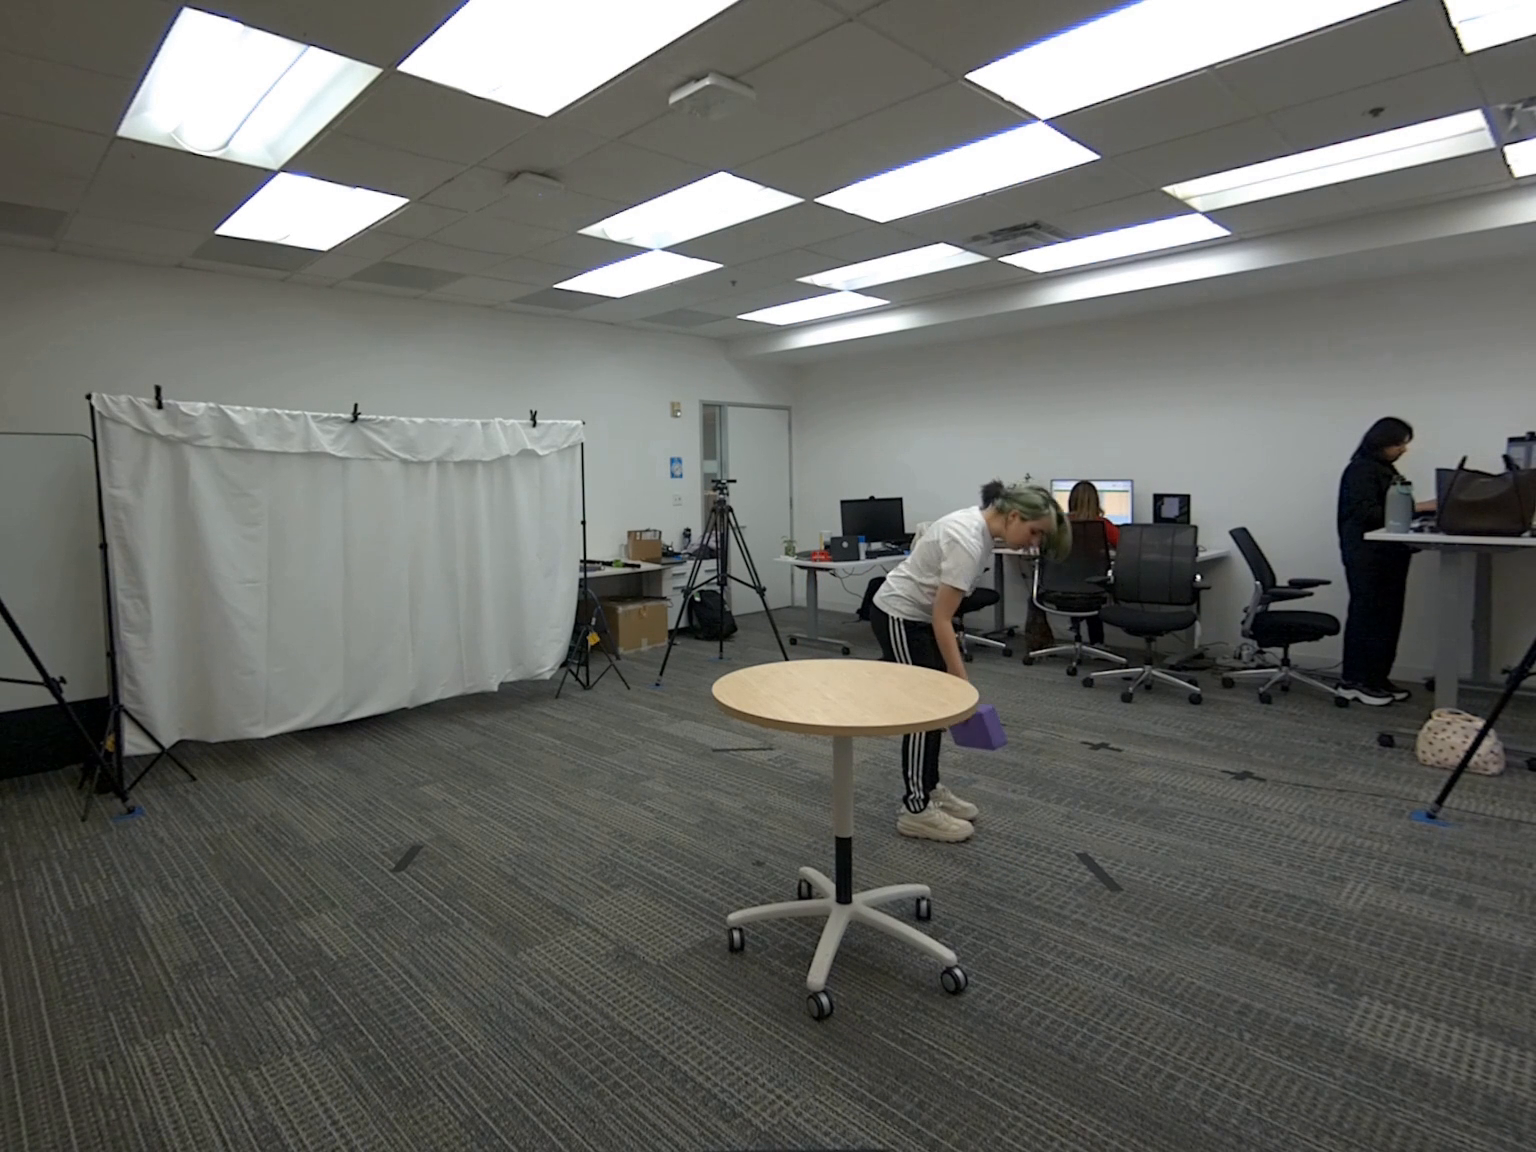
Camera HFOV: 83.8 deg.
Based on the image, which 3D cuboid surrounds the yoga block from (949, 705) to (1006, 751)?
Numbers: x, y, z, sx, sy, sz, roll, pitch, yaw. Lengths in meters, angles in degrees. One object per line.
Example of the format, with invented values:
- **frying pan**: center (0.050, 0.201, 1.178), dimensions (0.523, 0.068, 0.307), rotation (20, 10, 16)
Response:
- **yoga block**: center (0.759, 0.550, 3.106), dimensions (0.075, 0.150, 0.231), rotation (-8, -3, -15)
